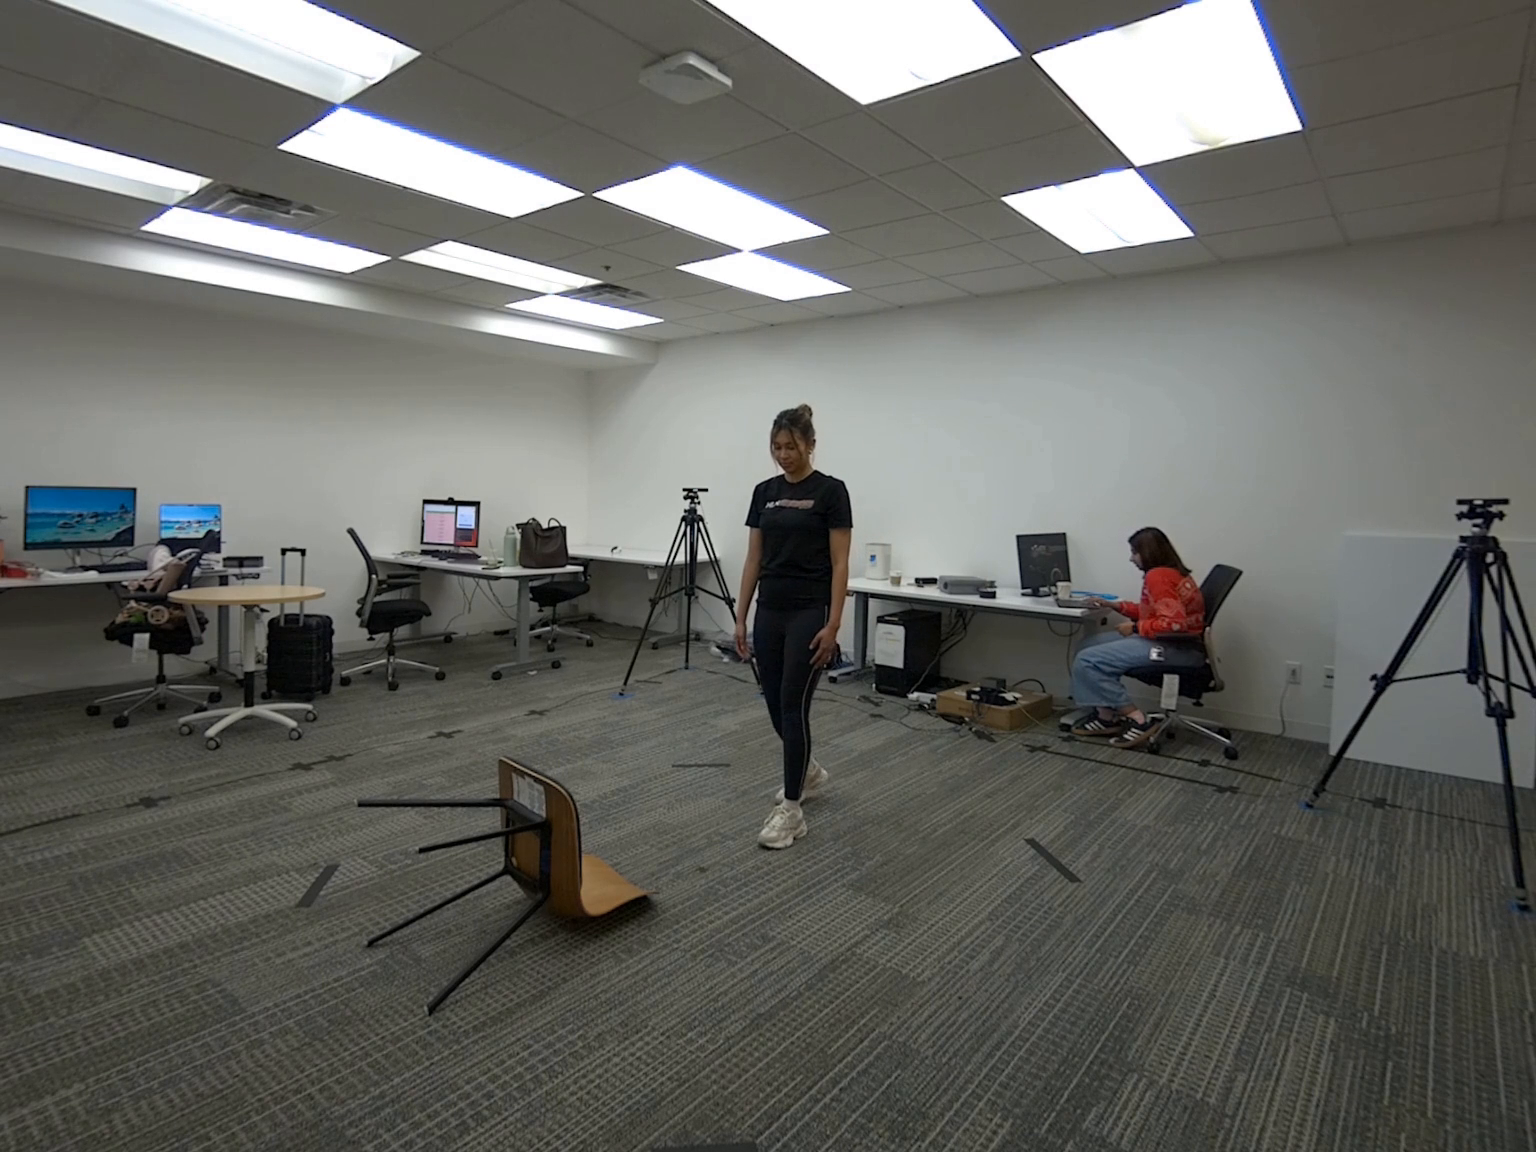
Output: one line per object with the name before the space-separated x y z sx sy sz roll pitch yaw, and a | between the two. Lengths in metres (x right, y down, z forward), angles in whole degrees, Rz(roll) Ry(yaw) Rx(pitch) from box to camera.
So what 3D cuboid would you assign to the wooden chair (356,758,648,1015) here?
wooden chair | -0.757 0.846 2.650 0.850 0.522 0.494 -3 5 -44
